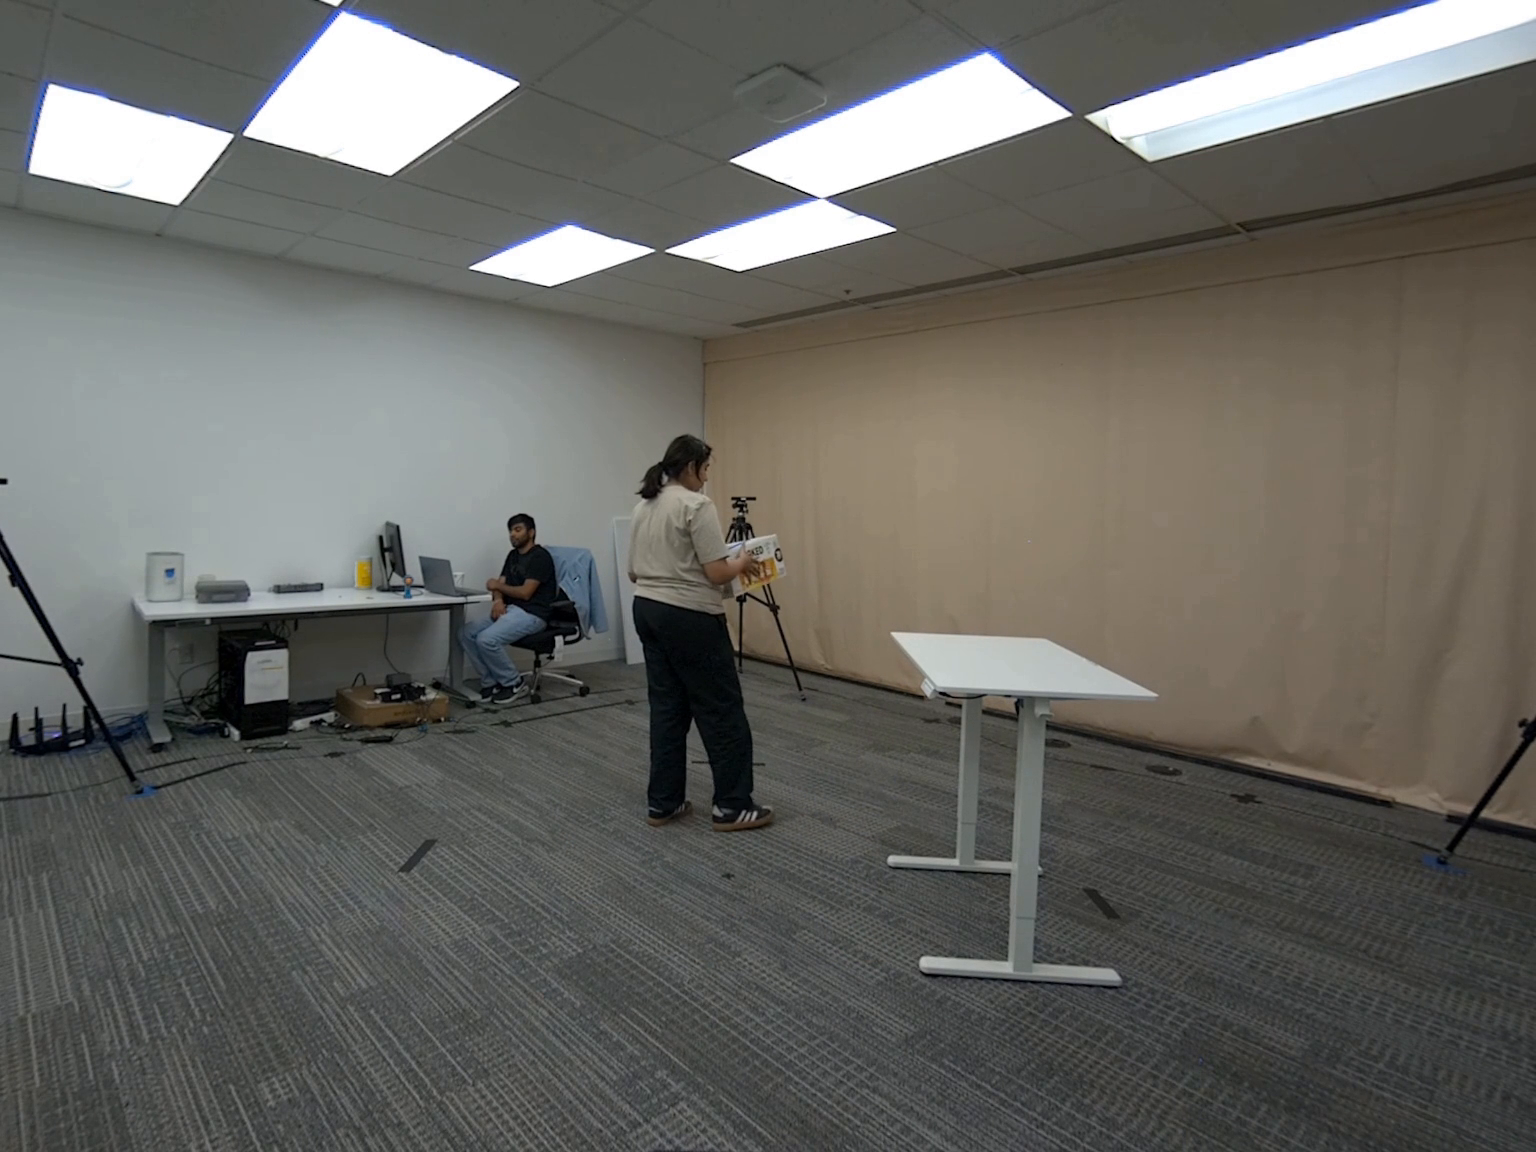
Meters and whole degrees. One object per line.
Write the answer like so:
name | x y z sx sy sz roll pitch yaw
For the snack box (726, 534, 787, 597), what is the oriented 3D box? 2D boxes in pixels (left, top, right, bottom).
snack box | -0.186 -0.031 3.917 0.347 0.205 0.399 -10 8 39
